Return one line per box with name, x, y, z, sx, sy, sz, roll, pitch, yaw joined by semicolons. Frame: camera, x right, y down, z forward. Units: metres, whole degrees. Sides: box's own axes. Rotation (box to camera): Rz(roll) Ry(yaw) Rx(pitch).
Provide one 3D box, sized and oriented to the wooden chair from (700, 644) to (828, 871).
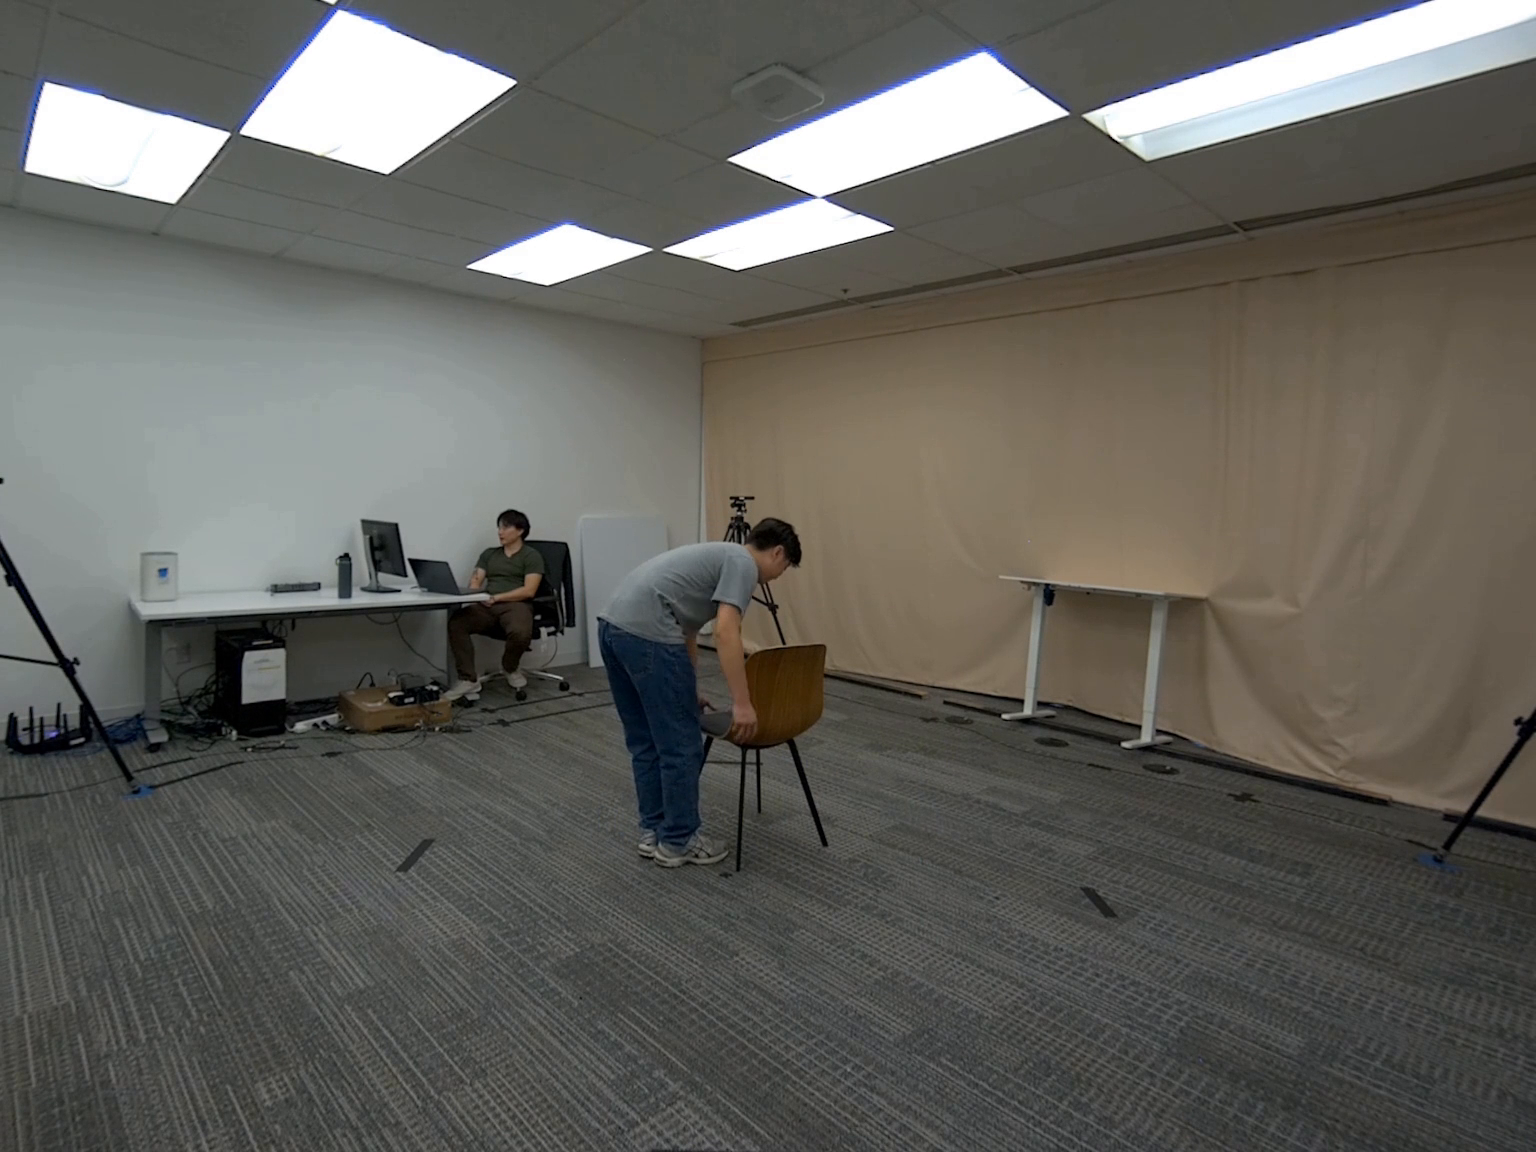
wooden chair;-0.071;0.649;3.423;0.467;0.873;0.537;-1;8;-37
